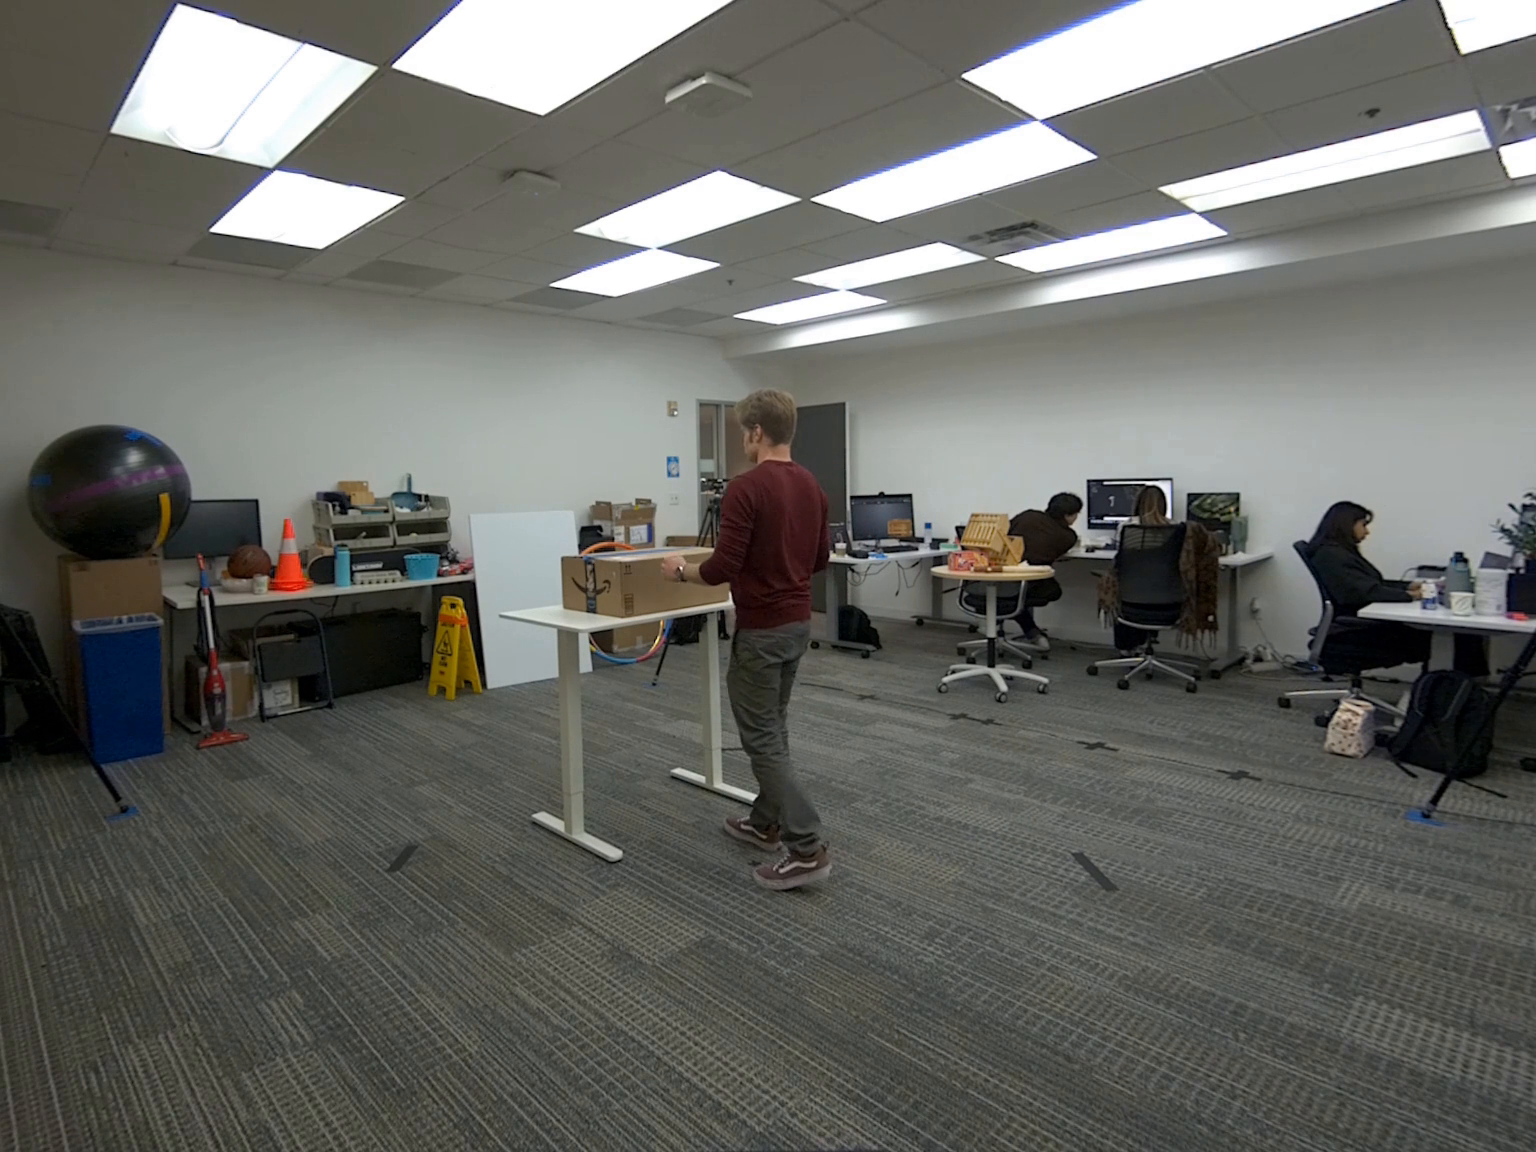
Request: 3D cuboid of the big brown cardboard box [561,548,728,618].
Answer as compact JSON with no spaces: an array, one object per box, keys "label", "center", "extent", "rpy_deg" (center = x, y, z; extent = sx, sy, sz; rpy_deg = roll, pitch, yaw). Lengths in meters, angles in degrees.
[{"label":"big brown cardboard box","center":[-0.502,0.011,3.538],"extent":[0.430,0.232,0.573],"rpy_deg":[4,7,45]}]
